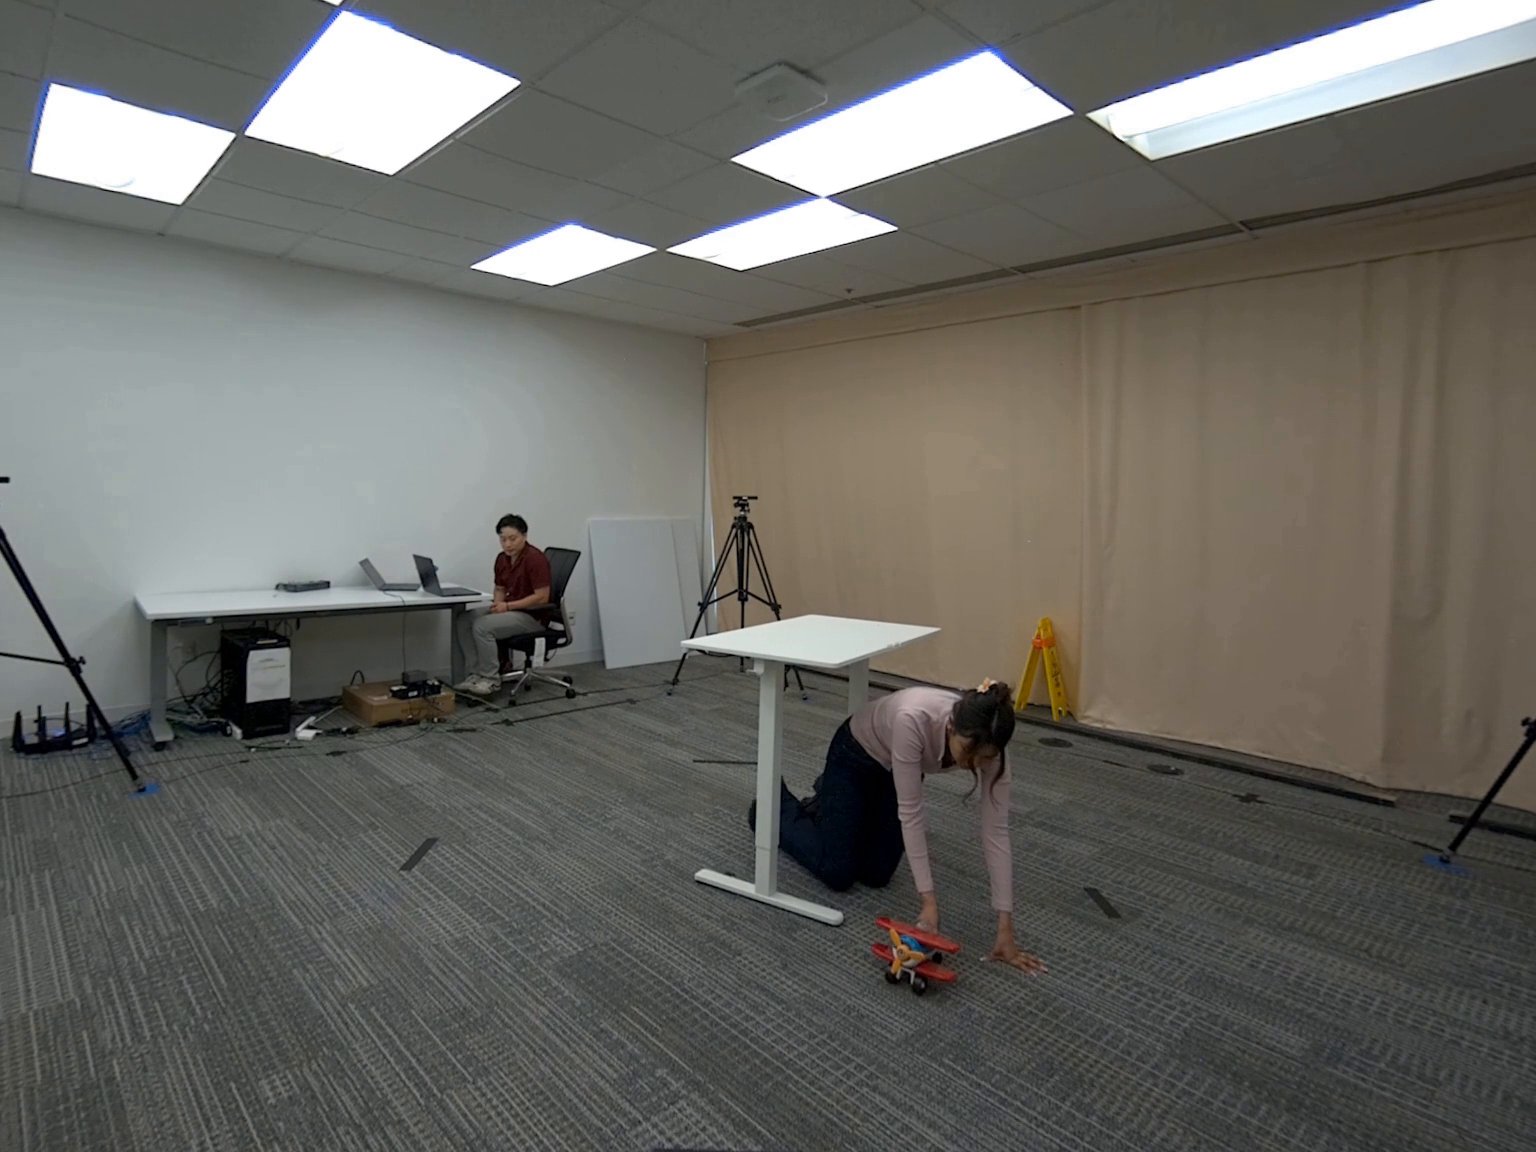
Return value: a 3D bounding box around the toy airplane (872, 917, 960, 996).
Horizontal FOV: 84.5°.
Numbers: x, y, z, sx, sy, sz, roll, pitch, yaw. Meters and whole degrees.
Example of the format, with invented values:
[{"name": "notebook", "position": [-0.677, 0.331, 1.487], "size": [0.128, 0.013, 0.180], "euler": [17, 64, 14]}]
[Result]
[{"name": "toy airplane", "position": [0.416, 1.102, 2.482], "size": [0.253, 0.156, 0.259], "euler": [3, 7, 7]}]
